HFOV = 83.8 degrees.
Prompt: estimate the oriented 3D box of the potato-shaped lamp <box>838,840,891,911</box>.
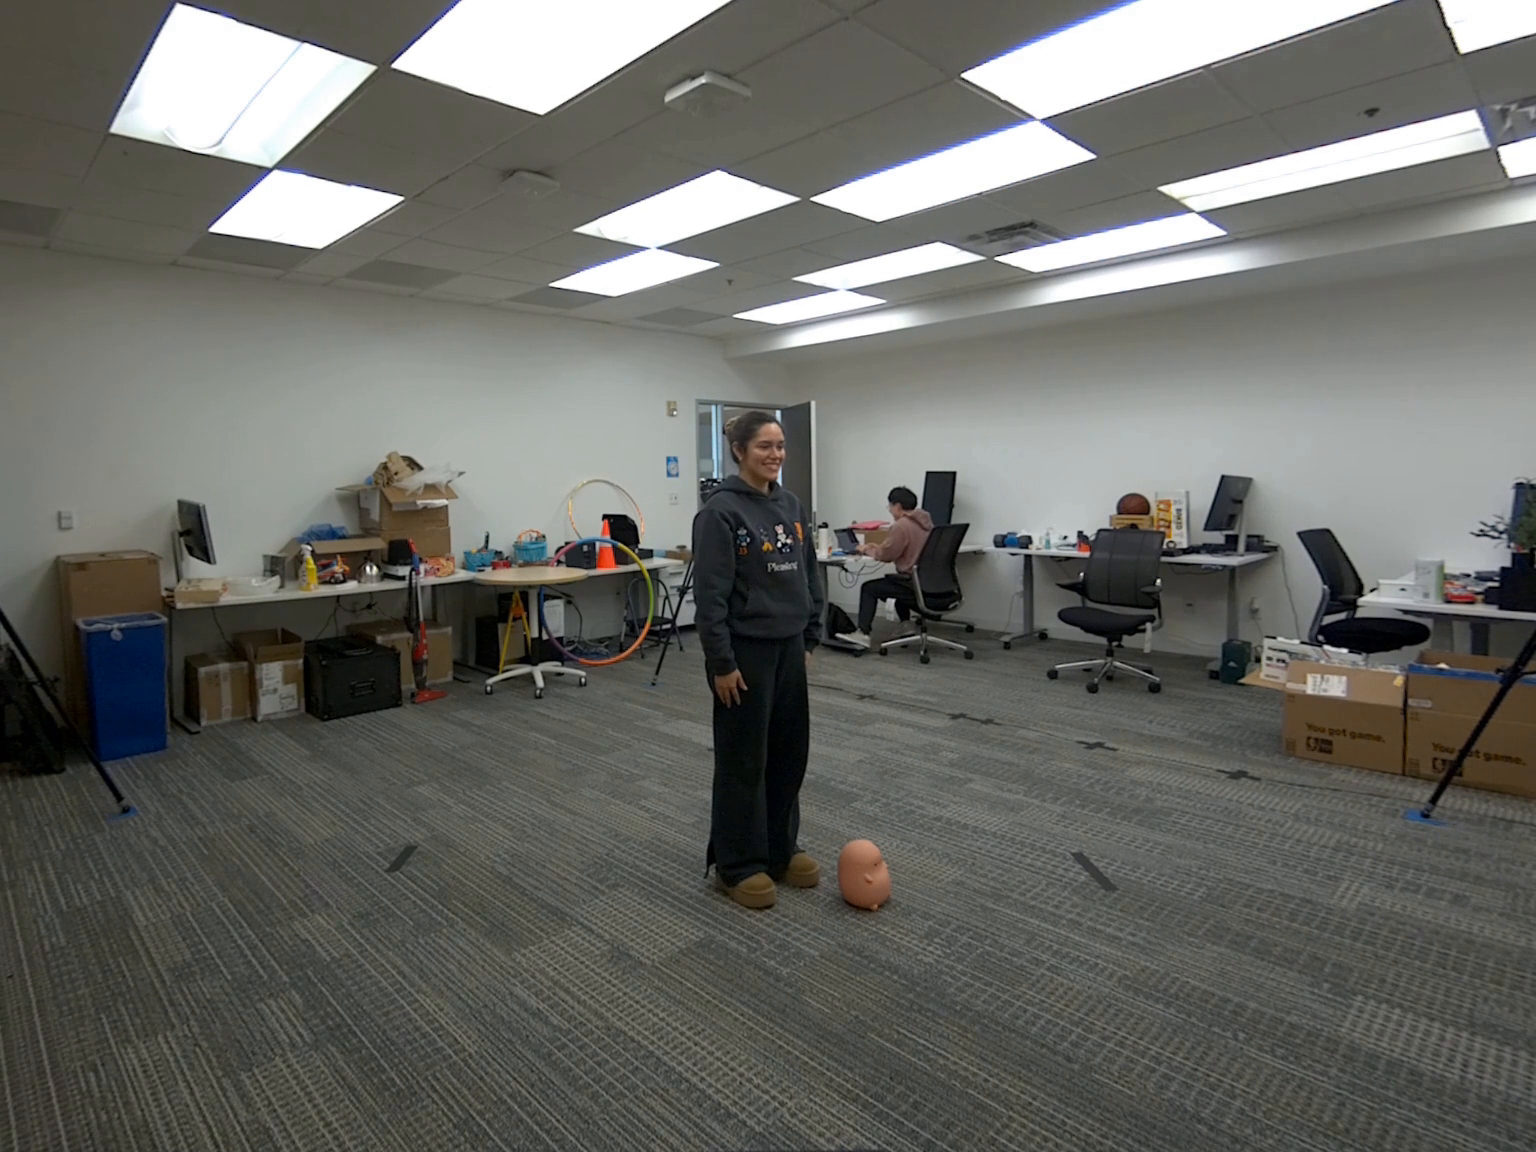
[{"bbox_3d":[0.312,0.968,2.793,0.176,0.197,0.160,2,6,39],"label":"potato-shaped lamp"}]
